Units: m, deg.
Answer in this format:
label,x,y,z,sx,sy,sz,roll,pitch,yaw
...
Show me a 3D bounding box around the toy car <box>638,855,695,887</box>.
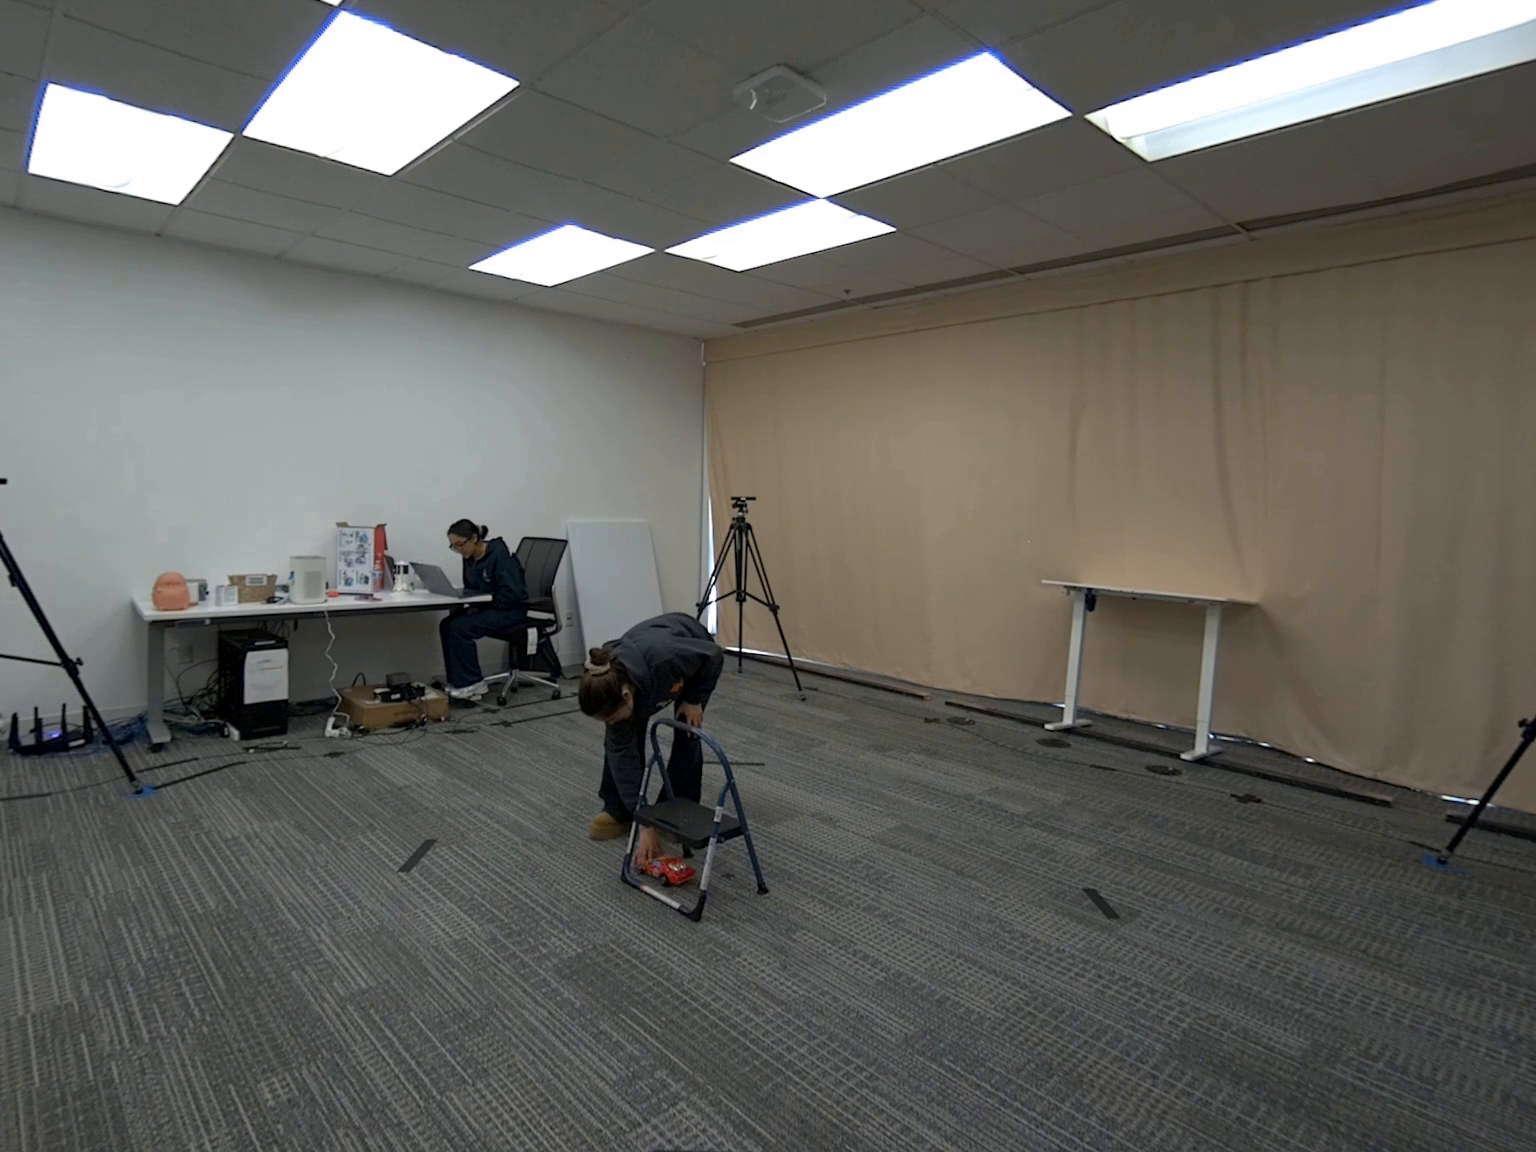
label,x,y,z,sx,sy,sz,roll,pitch,yaw
toy car,-0.387,1.074,3.090,0.259,0.083,0.127,-9,-3,45
